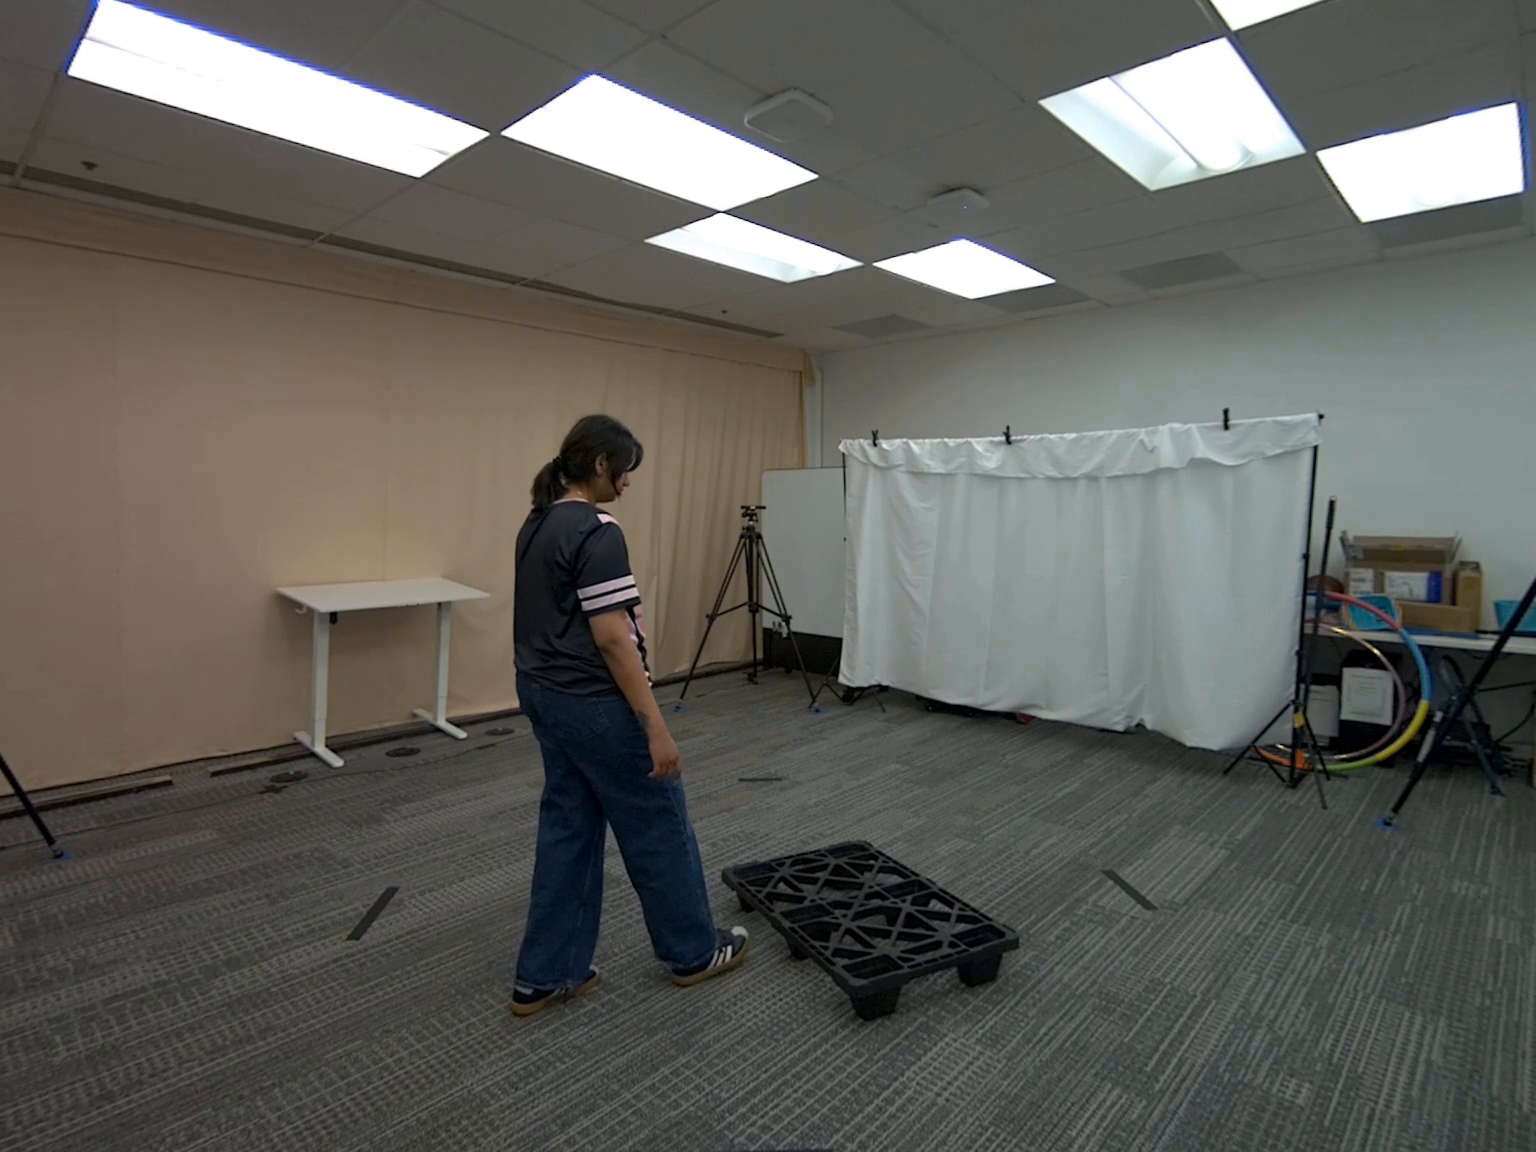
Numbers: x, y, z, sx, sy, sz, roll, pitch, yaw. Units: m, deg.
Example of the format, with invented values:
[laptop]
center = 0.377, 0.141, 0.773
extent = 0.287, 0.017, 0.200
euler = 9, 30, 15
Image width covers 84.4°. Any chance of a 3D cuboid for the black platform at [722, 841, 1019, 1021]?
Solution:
[black platform]
center = 0.296, 1.101, 2.697
extent = 0.590, 0.143, 0.828
euler = -2, 5, -28
